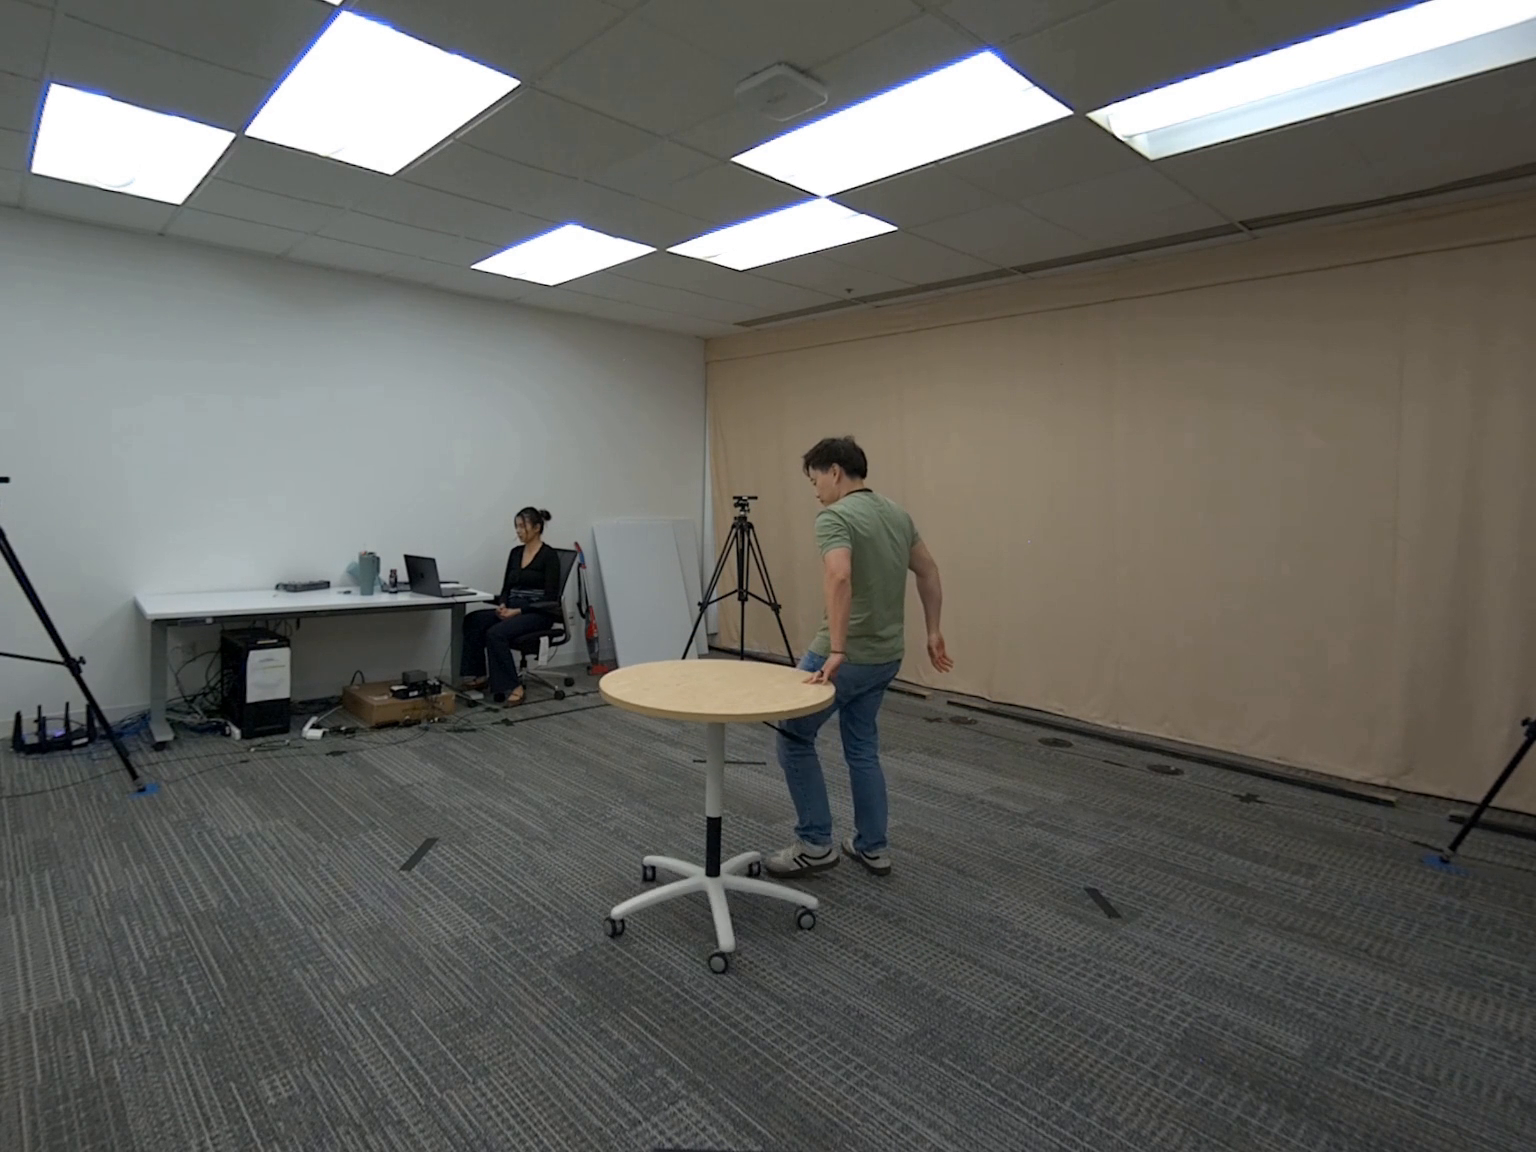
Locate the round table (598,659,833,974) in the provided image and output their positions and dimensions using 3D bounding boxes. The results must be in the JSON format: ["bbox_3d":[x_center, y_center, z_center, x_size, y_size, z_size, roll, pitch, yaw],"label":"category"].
[{"bbox_3d":[-0.178,0.743,2.774,0.763,0.792,0.767,1,4,-1],"label":"round table"}]
